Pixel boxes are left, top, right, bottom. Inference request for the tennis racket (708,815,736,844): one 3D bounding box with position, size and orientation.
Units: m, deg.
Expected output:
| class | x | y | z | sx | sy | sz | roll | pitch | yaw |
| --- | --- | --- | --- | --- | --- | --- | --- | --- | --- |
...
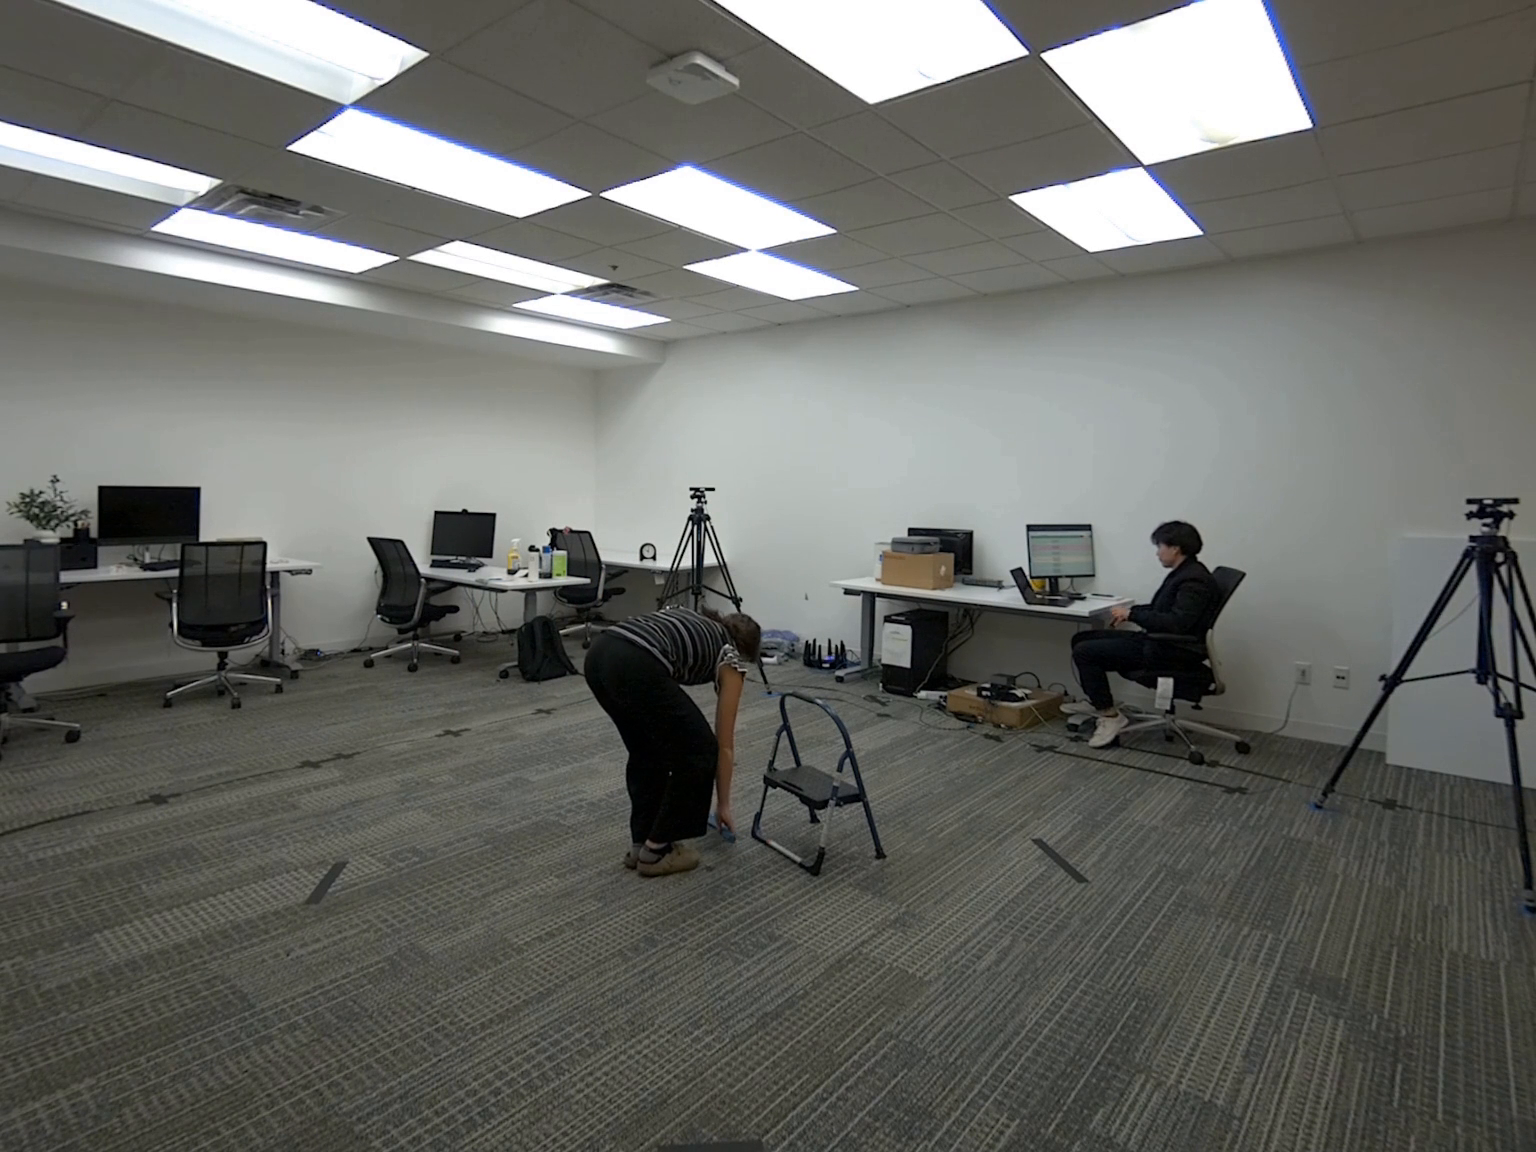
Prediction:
| class | x | y | z | sx | sy | sz | roll | pitch | yaw |
| --- | --- | --- | --- | --- | --- | --- | --- | --- | --- |
| tennis racket | -0.211 | 0.978 | 3.361 | 0.210 | 0.032 | 0.438 | 20 | -9 | -14 |
